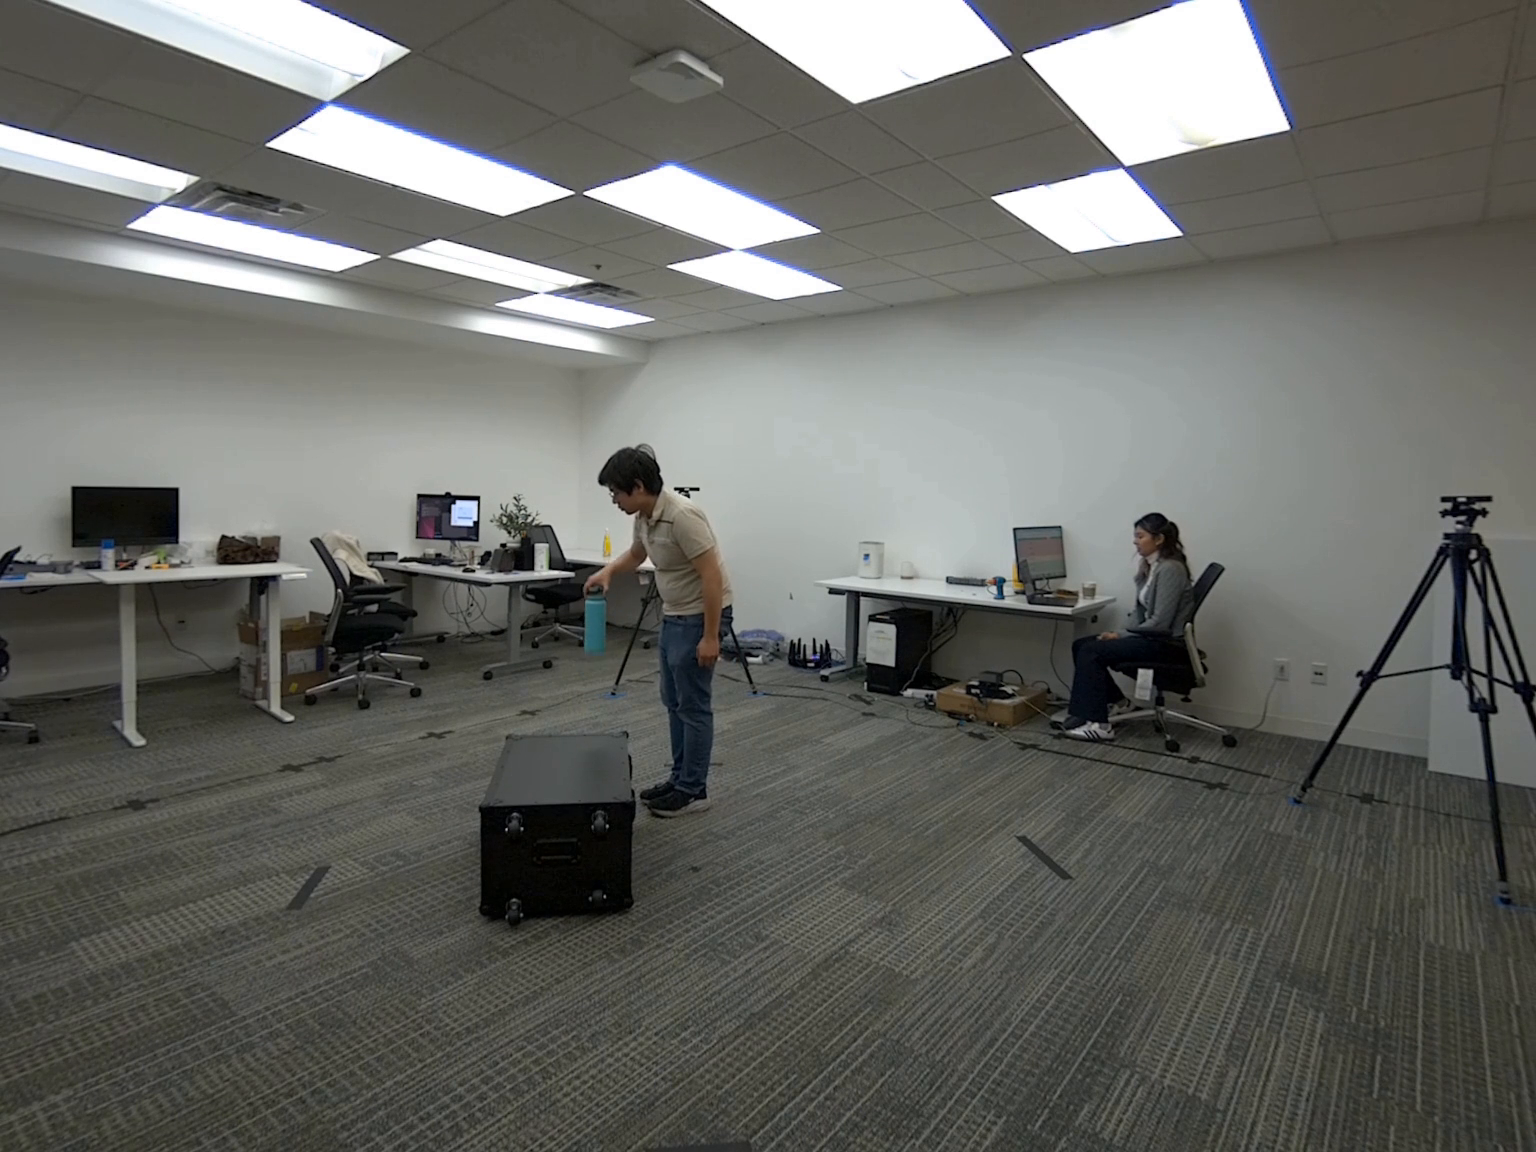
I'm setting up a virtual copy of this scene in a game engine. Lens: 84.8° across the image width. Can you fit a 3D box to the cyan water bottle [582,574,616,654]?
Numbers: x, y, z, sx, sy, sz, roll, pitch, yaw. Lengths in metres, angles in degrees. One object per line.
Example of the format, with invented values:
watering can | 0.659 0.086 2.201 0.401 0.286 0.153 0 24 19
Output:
cyan water bottle | -0.761 0.176 3.689 0.092 0.283 0.093 2 3 -2
